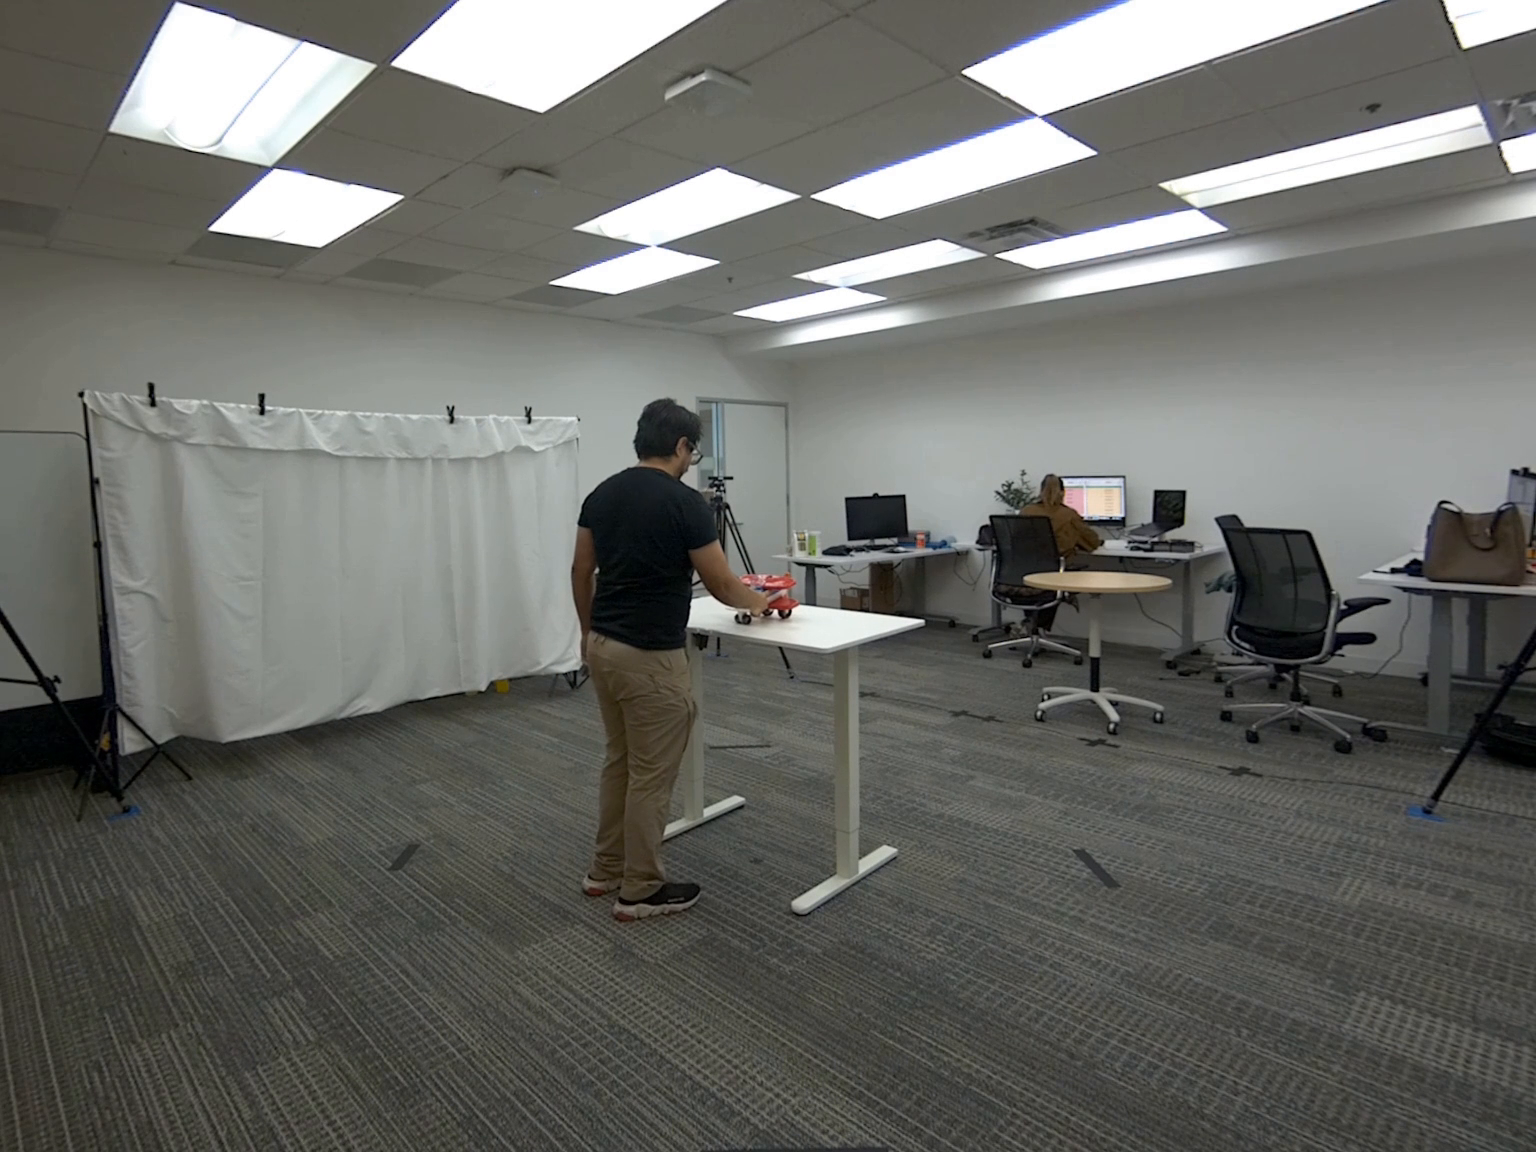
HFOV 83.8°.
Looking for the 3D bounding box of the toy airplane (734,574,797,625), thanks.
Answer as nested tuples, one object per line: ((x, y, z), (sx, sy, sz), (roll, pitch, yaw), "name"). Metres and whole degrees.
((-0.008, 0.082, 3.048), (0.255, 0.156, 0.256), (1, 5, 15), "toy airplane")
